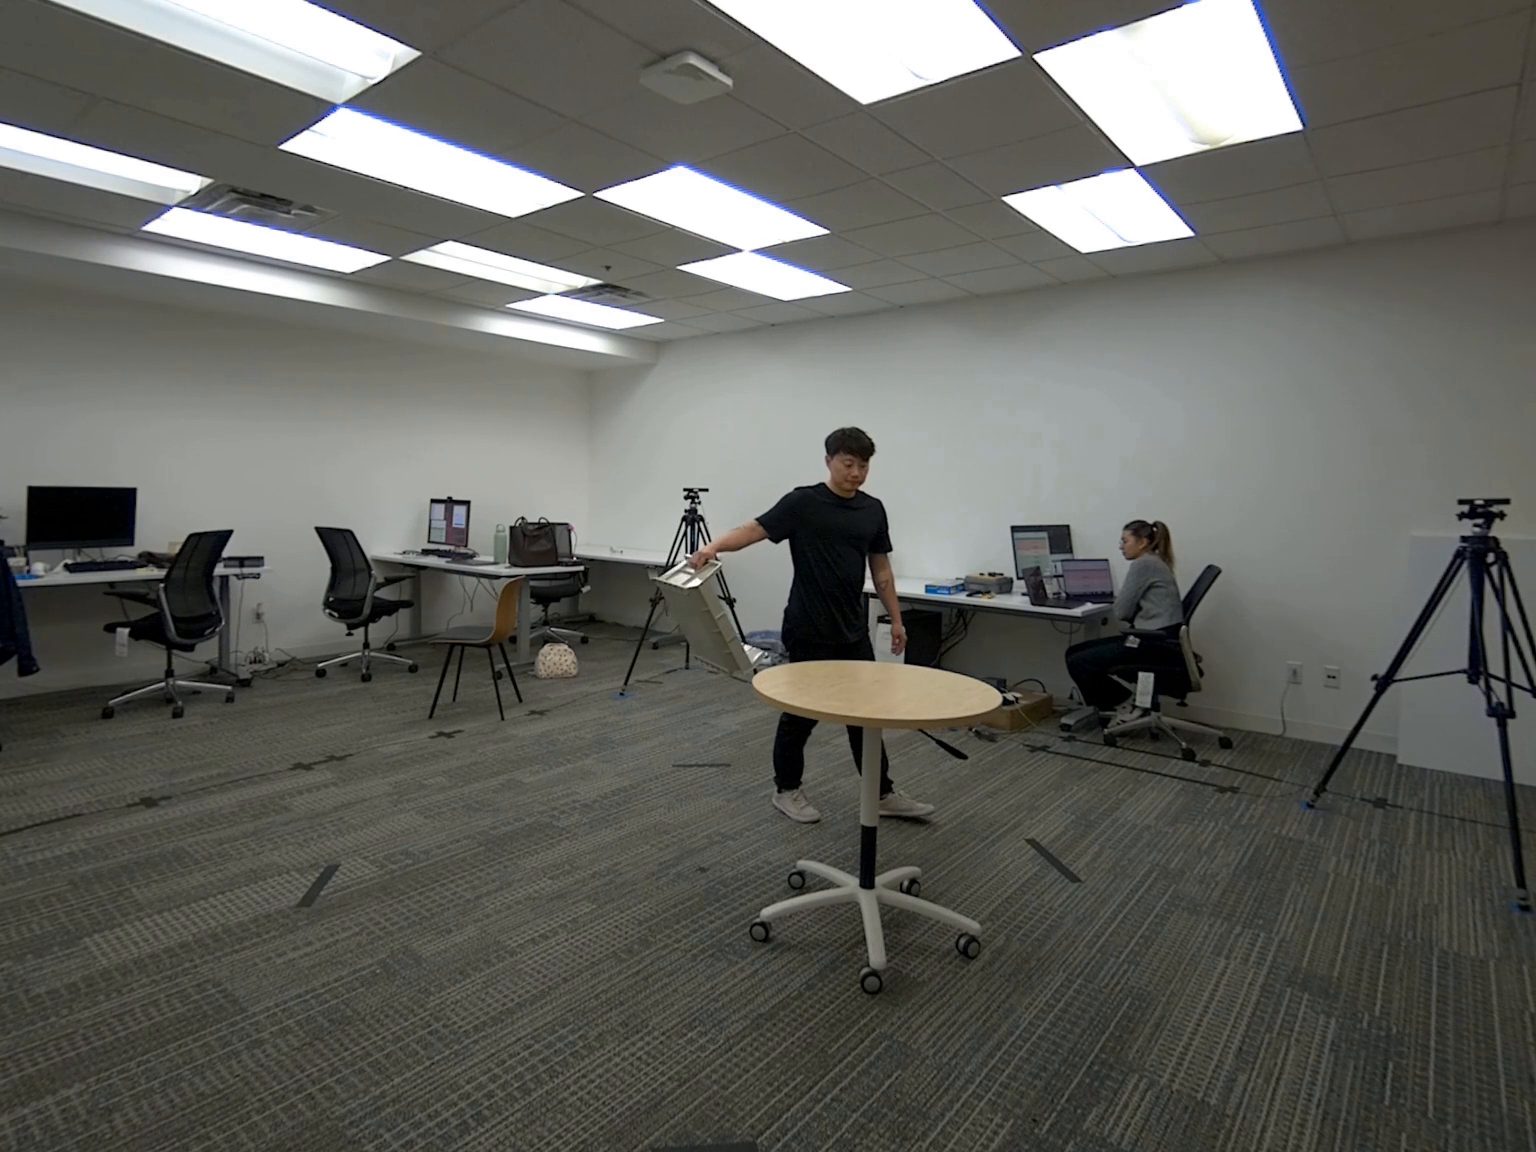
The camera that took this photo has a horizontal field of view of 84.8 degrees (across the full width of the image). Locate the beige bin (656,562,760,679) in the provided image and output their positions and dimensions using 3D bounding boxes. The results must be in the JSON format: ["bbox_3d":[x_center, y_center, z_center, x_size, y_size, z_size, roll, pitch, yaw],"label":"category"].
[{"bbox_3d":[-0.230,0.148,3.376,0.187,0.413,0.388,-34,19,-23],"label":"beige bin"}]
